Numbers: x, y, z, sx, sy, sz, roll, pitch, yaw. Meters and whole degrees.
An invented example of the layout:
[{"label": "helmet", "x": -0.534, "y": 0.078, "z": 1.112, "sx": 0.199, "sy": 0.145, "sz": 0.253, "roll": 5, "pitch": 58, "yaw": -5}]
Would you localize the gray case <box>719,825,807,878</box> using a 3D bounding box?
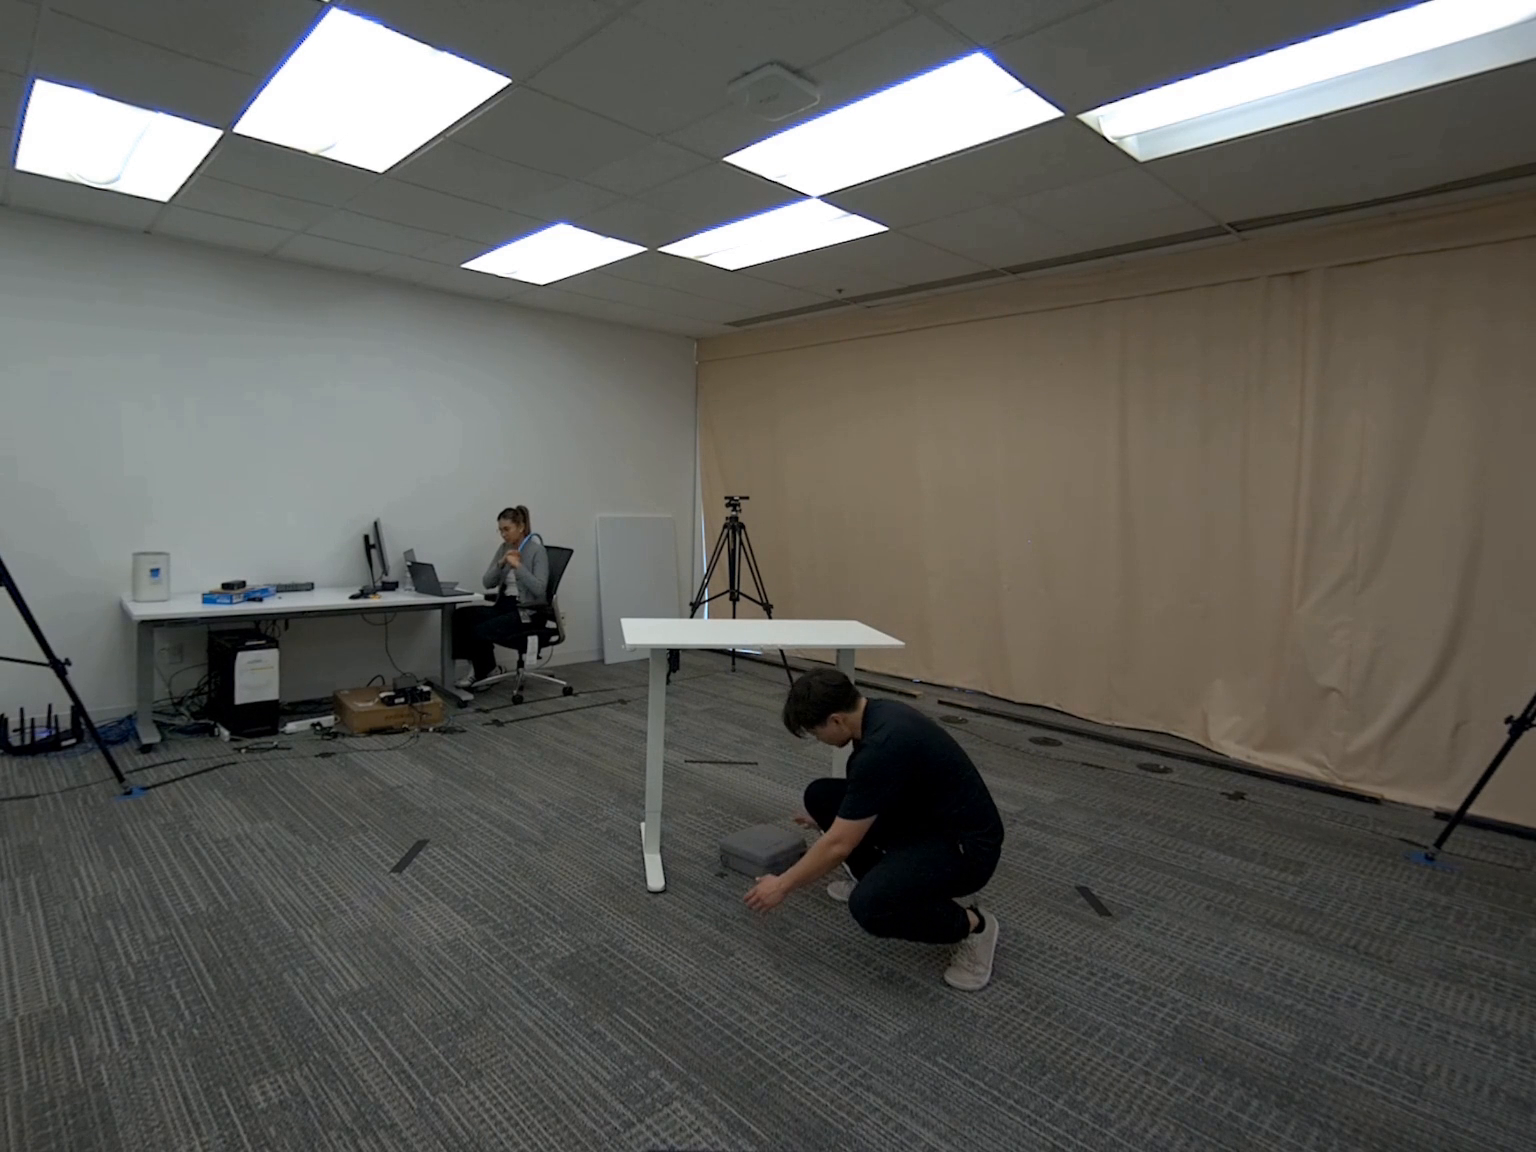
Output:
[{"label": "gray case", "x": -0.030, "y": 1.039, "z": 3.195, "sx": 0.267, "sy": 0.104, "sz": 0.251, "roll": 4, "pitch": 7, "yaw": 43}]
